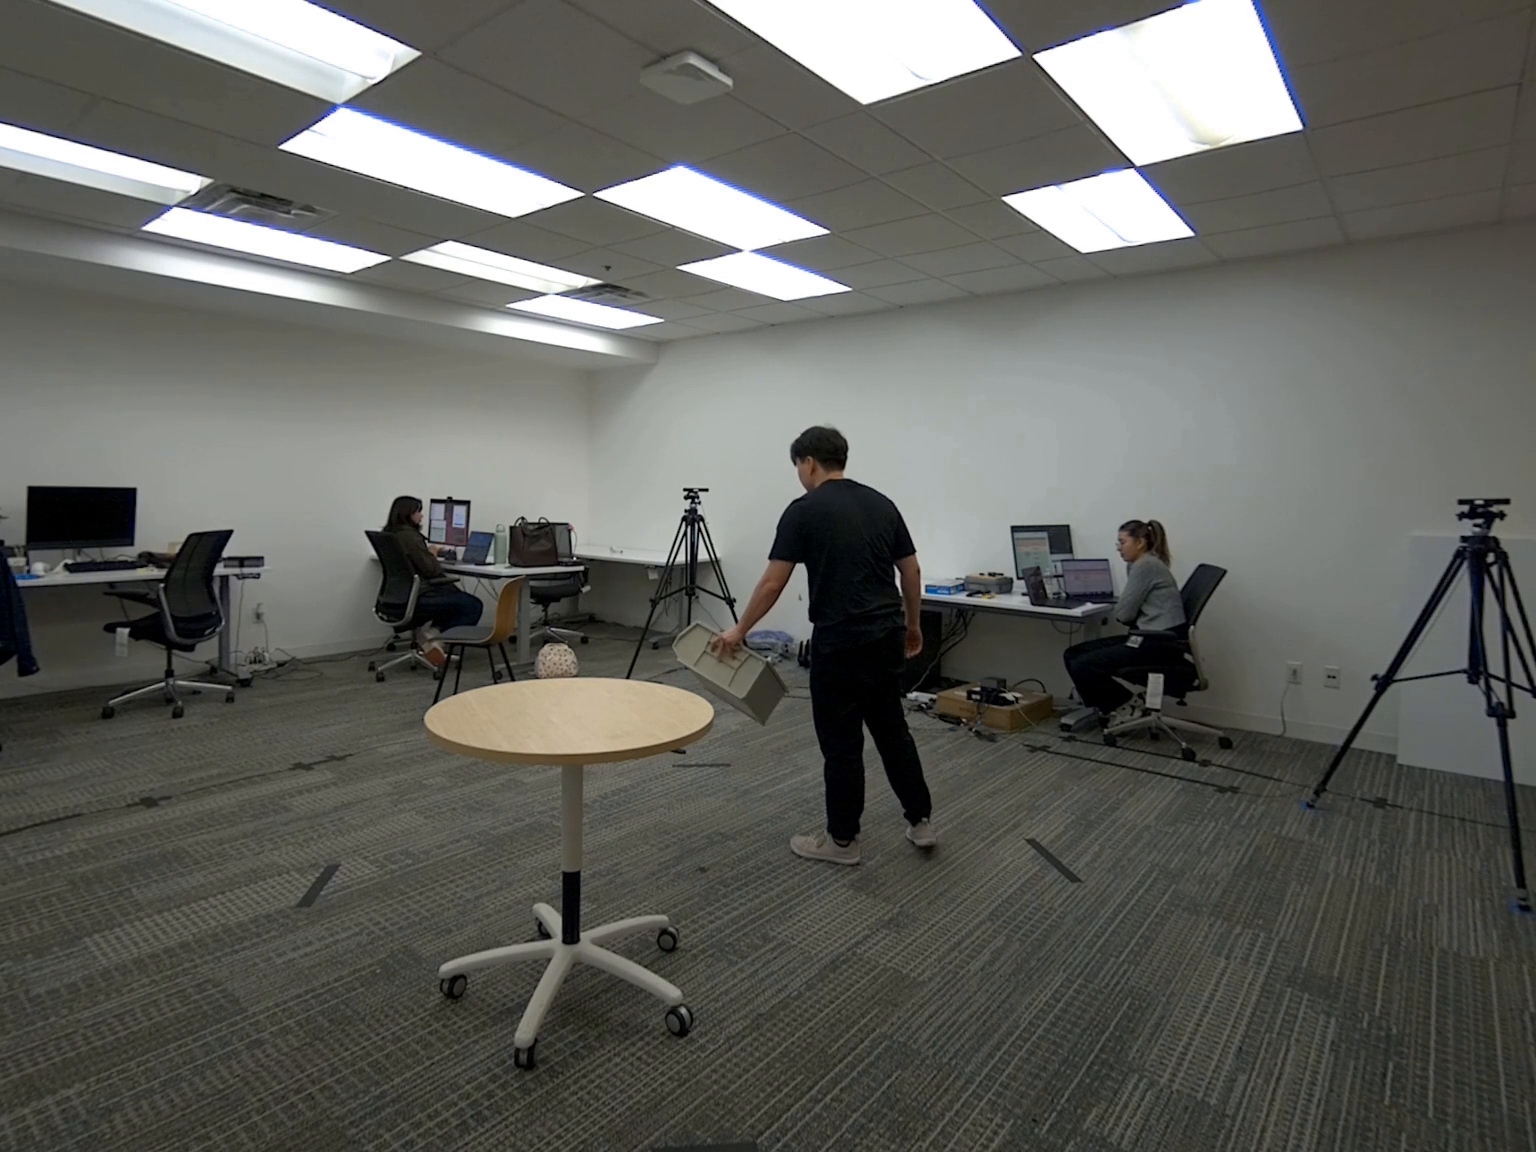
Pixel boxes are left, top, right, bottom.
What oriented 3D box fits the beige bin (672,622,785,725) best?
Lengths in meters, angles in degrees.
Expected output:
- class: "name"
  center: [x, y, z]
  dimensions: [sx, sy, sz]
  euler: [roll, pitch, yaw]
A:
- class: "beige bin"
  center: [-0.163, 0.393, 3.454]
  dimensions: [0.390, 0.189, 0.408]
  euler: [29, -15, 24]
